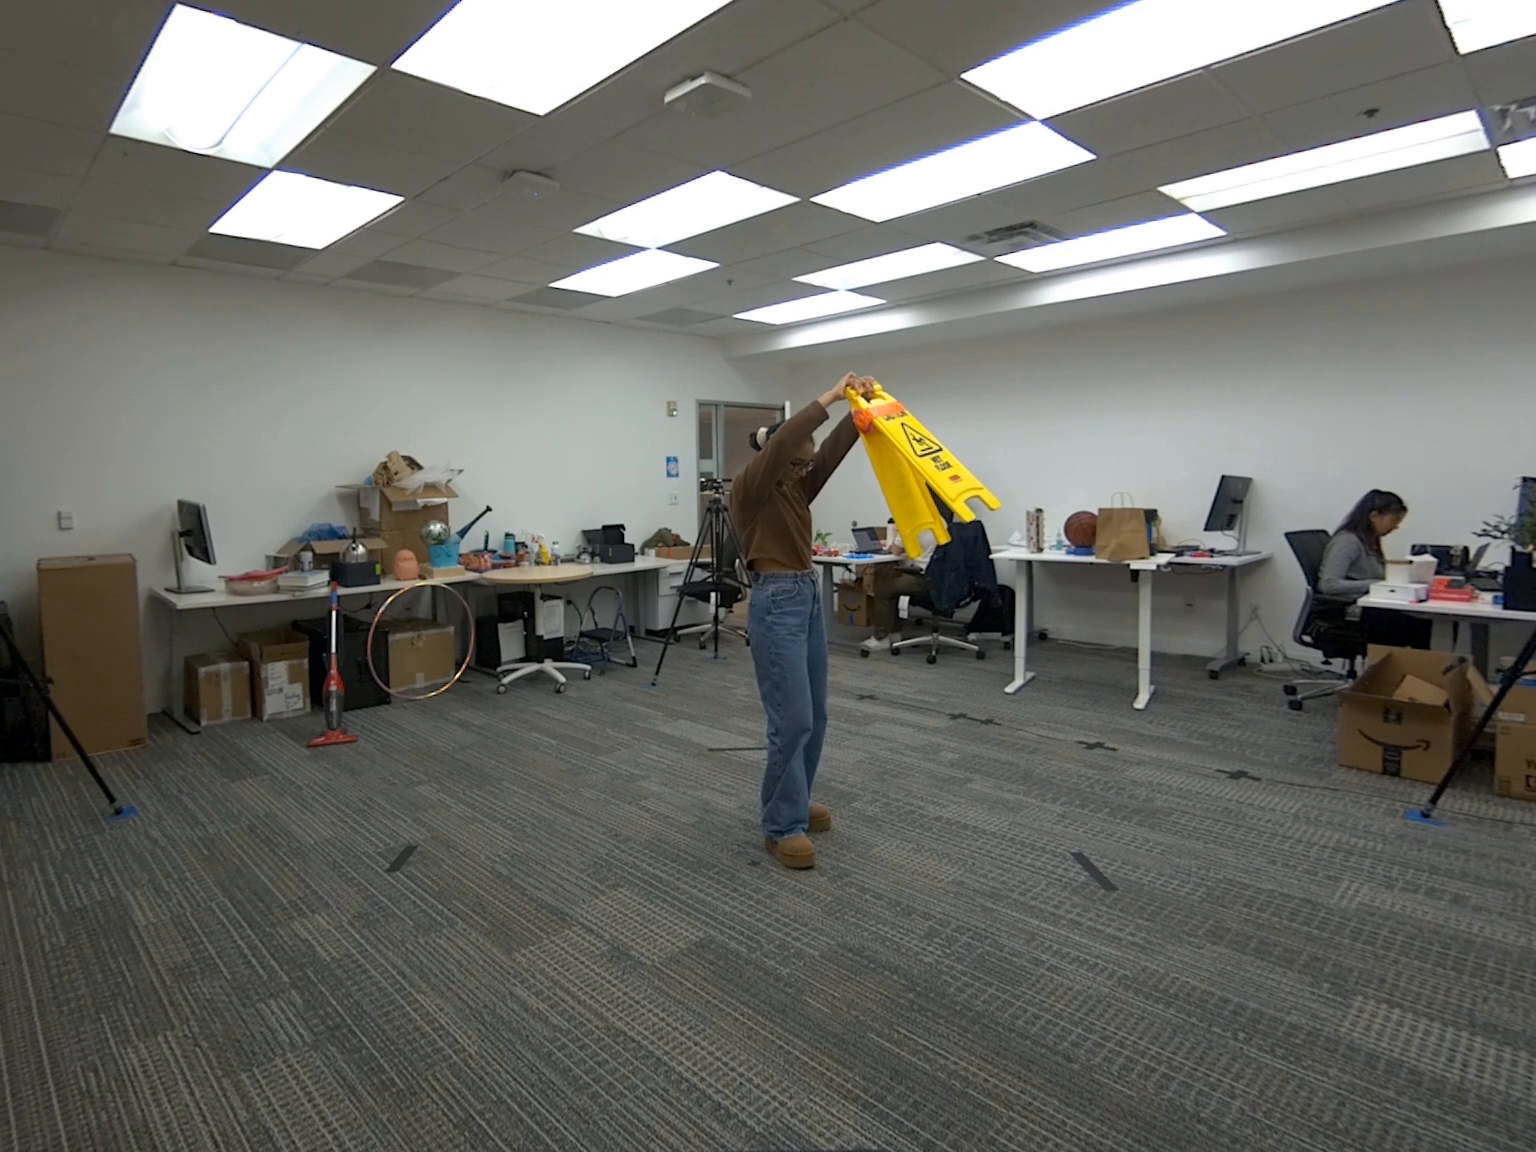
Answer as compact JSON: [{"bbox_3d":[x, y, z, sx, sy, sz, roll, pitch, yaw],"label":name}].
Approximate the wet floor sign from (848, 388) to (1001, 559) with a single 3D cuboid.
[{"bbox_3d":[0.507,-0.429,3.084,0.277,0.654,0.291,-20,-13,-45],"label":"wet floor sign"}]
